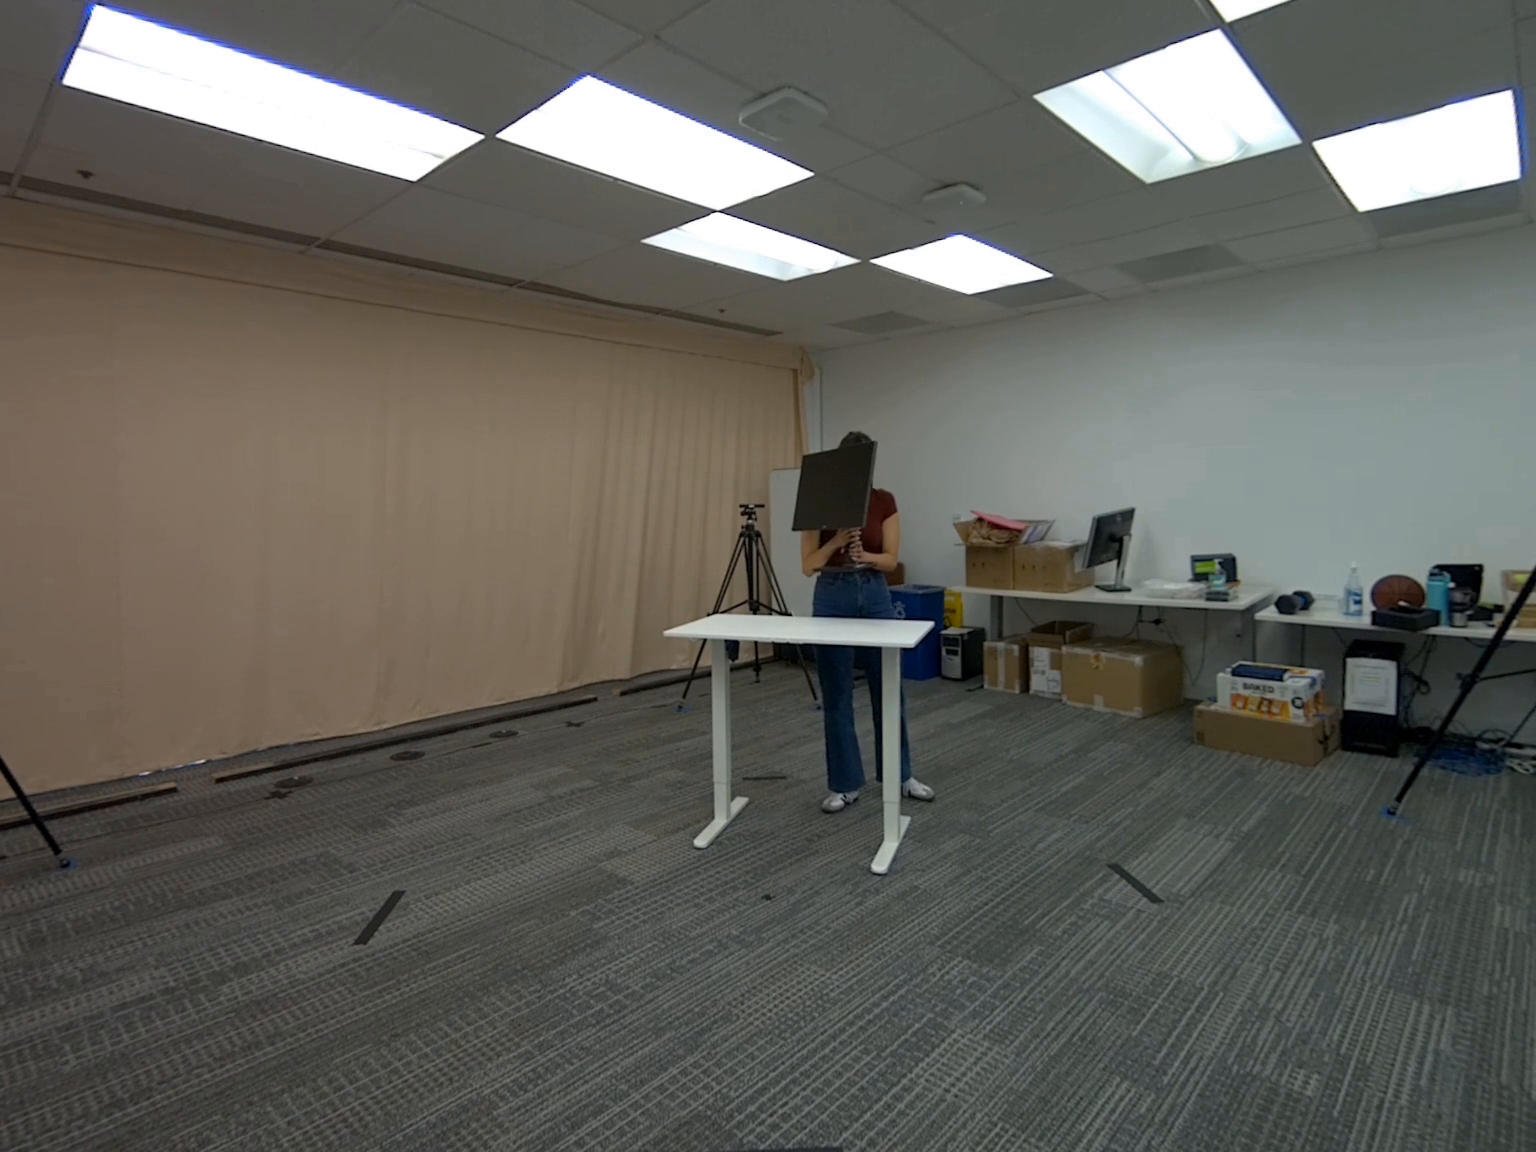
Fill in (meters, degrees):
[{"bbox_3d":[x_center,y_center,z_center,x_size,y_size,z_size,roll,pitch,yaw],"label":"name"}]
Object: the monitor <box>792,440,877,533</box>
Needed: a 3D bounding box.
[{"bbox_3d":[0.305,-0.283,3.602,0.182,0.522,0.554,-2,1,-30],"label":"monitor"}]
